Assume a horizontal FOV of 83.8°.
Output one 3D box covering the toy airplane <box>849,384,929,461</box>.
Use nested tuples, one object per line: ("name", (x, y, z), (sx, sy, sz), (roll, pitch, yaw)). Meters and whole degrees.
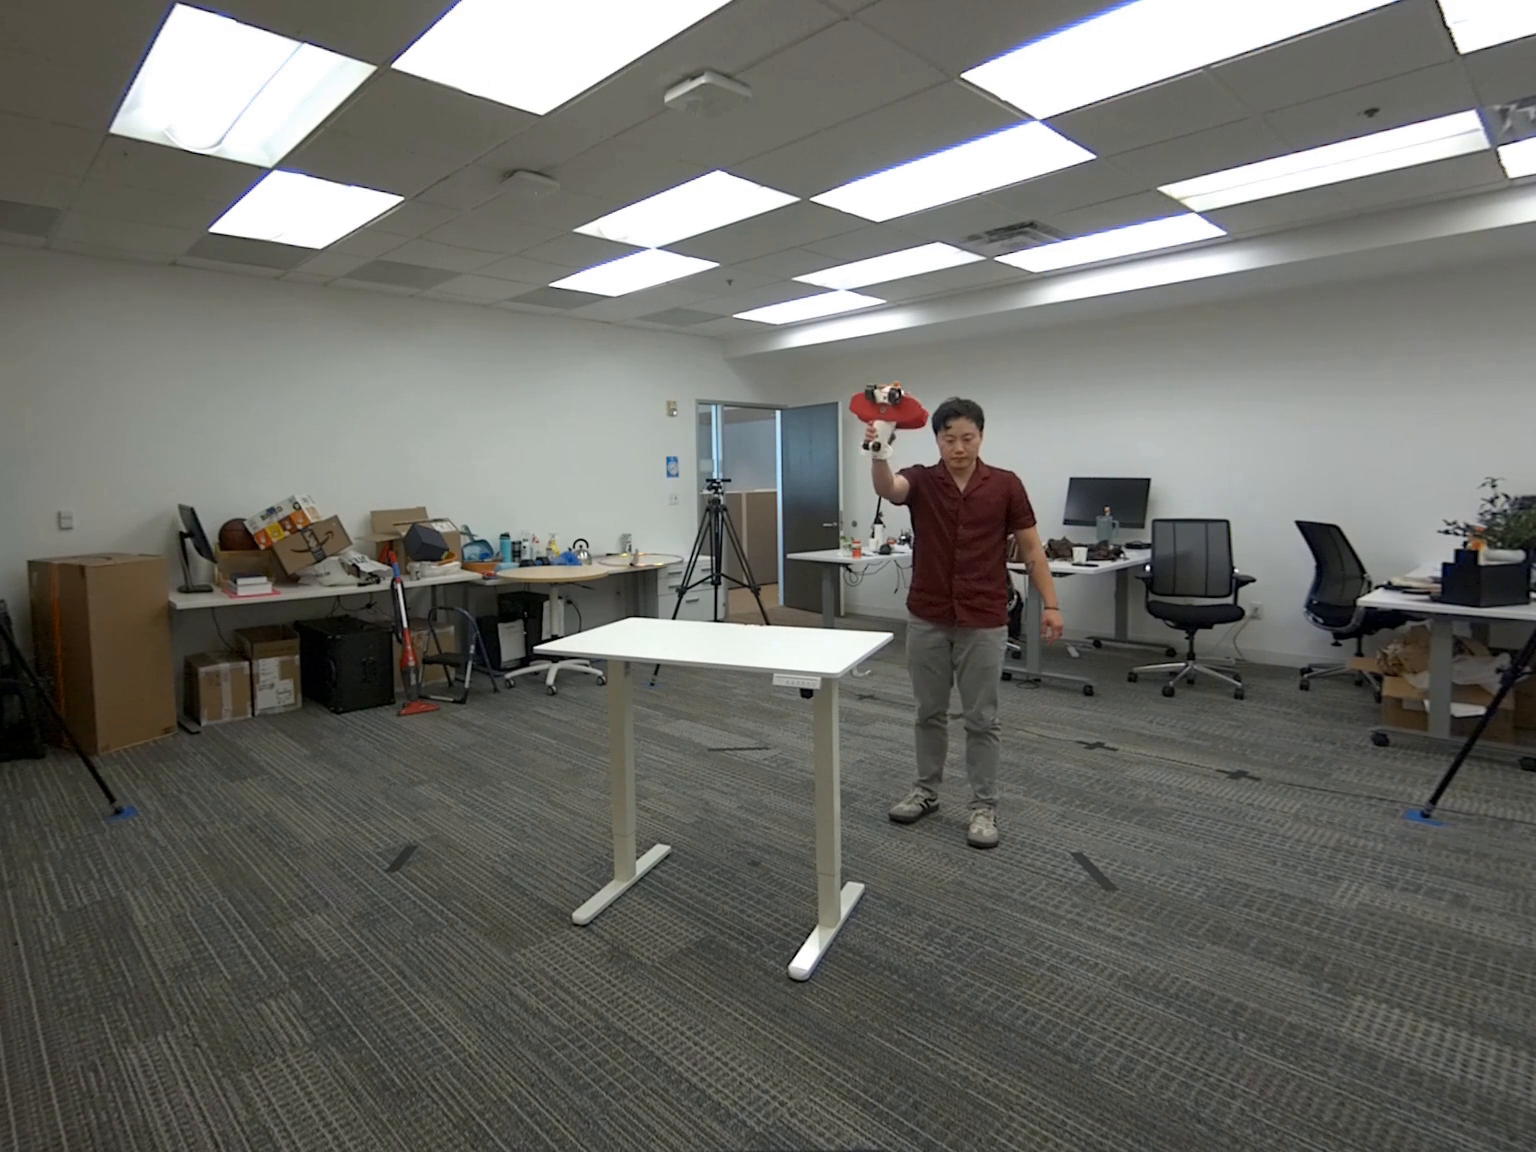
("toy airplane", (0.382, -0.527, 2.903), (0.259, 0.258, 0.152), (44, 23, 25))
